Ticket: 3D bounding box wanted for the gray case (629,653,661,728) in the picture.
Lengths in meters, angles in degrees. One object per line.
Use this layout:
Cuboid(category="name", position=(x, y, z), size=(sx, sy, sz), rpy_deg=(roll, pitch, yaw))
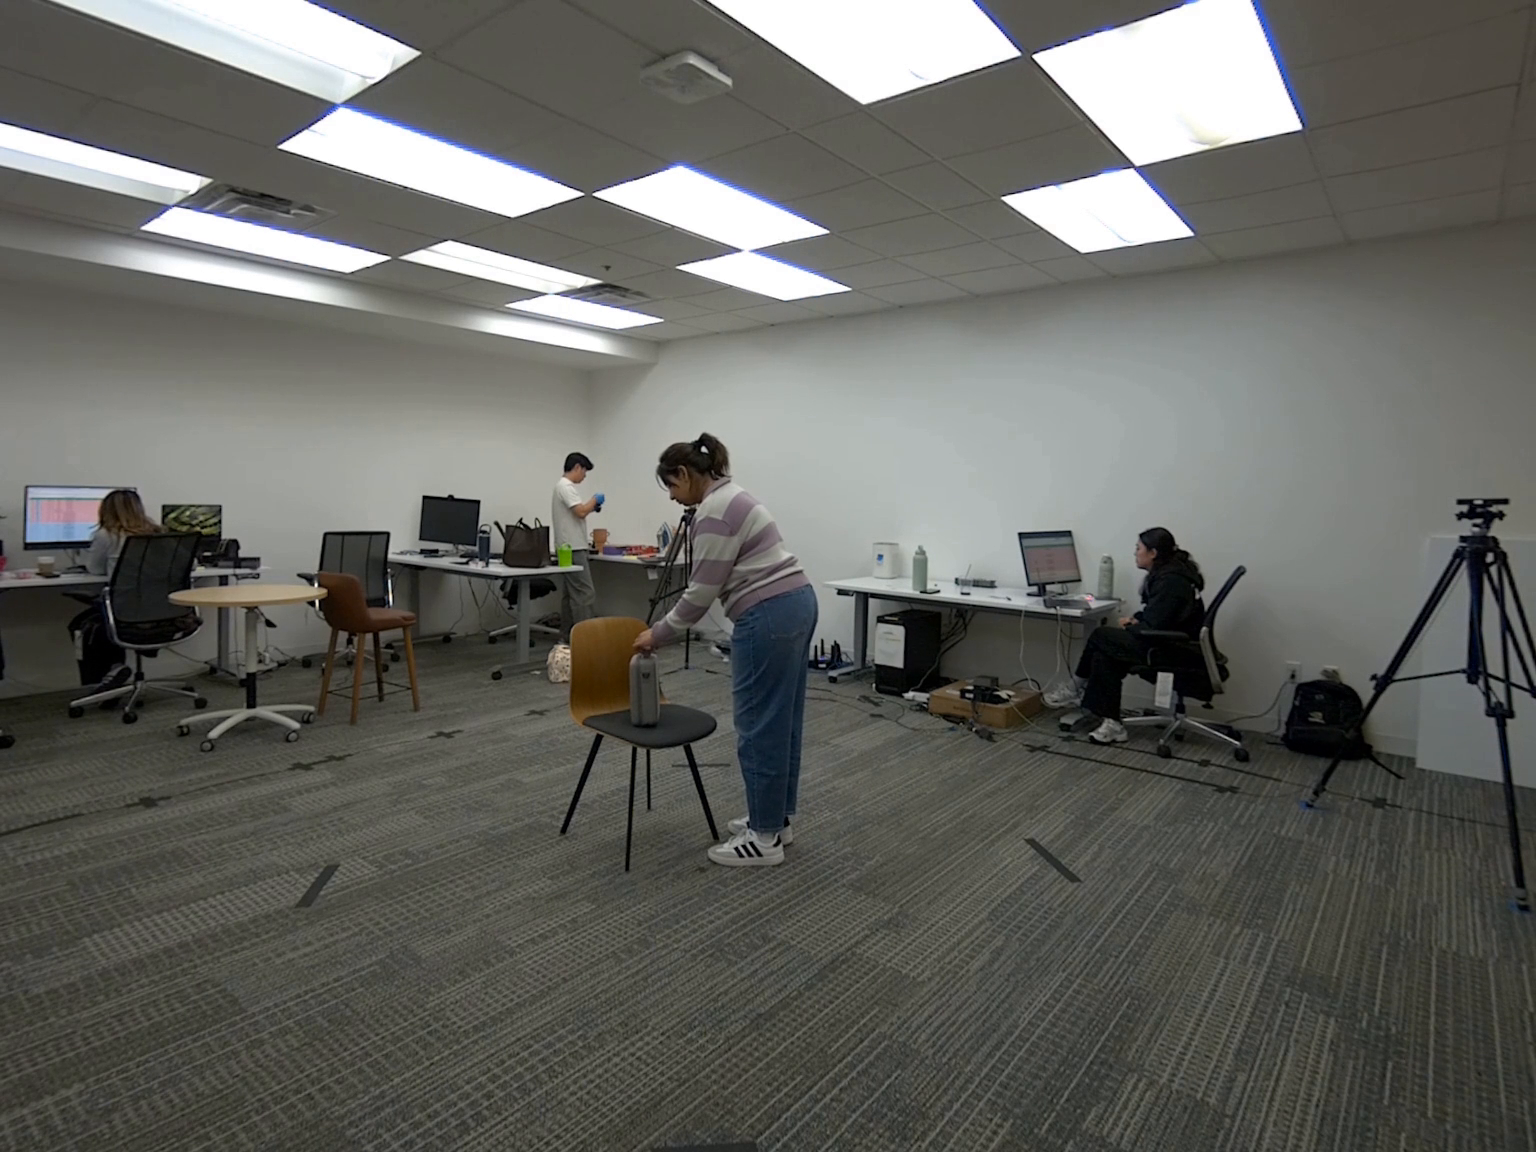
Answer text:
Cuboid(category="gray case", position=(-0.506, 0.430, 3.349), size=(0.103, 0.260, 0.259), rpy_deg=(-2, 2, -9))
